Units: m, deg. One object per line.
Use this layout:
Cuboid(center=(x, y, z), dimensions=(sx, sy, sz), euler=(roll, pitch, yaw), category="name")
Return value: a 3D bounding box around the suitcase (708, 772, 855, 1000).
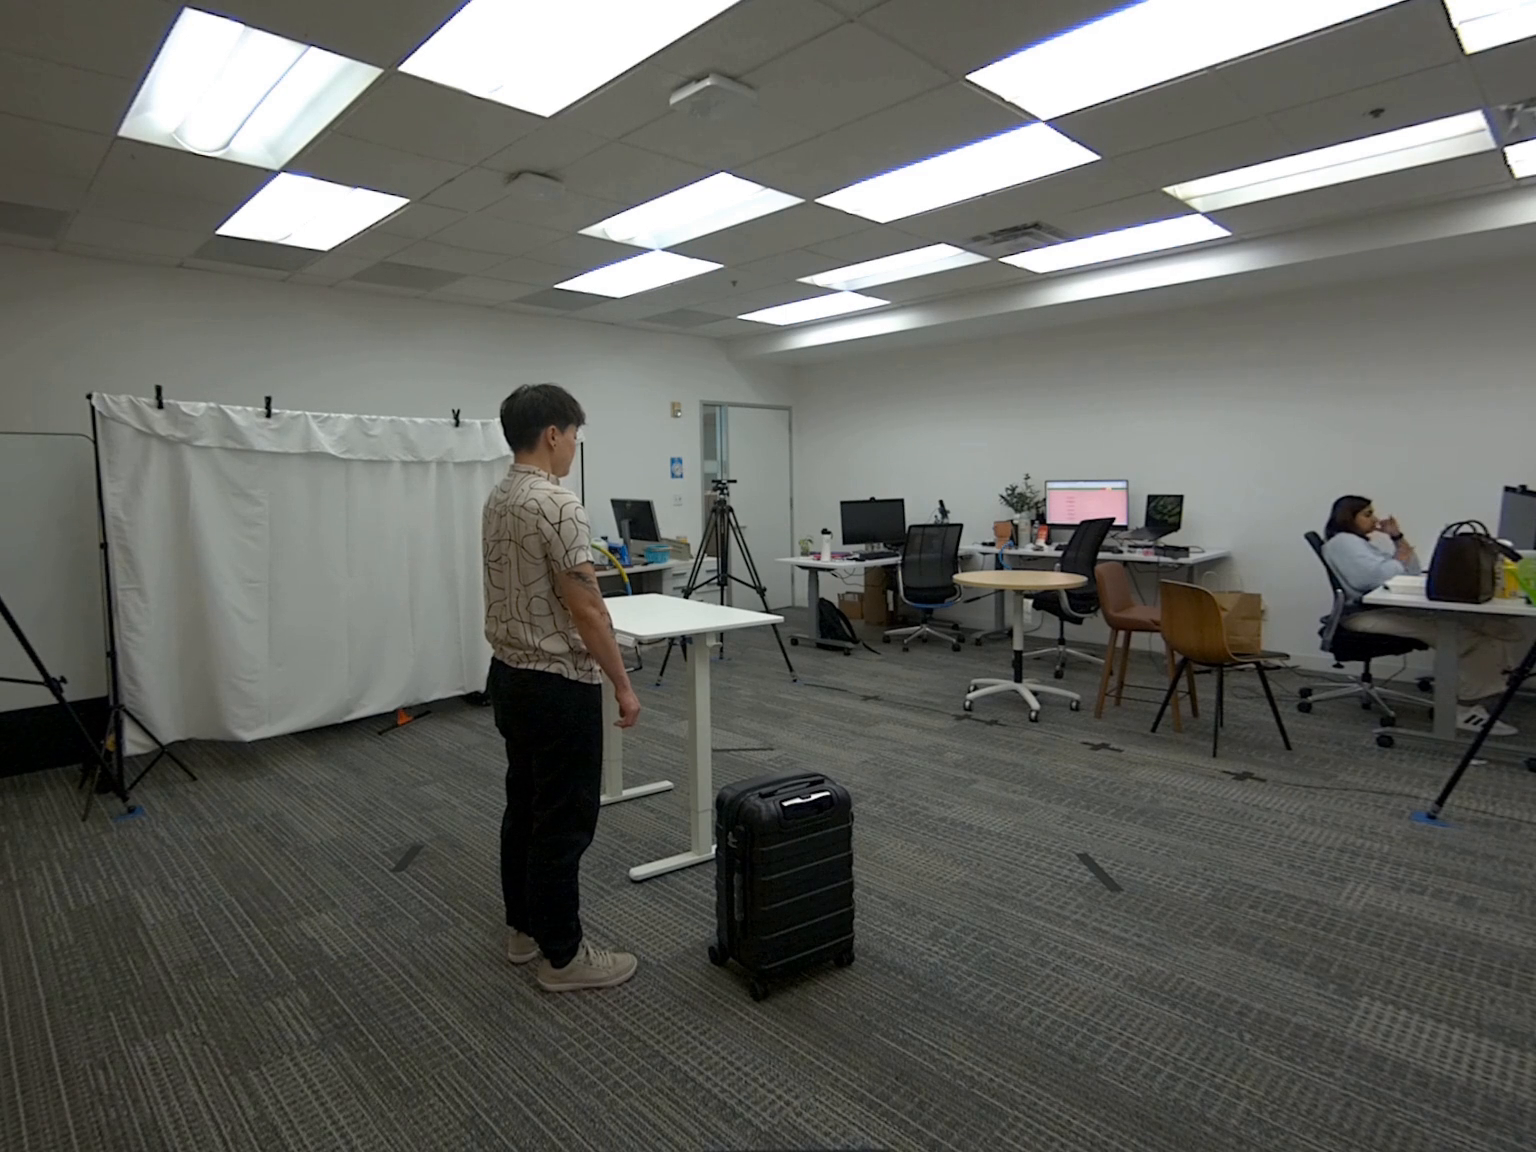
Cuboid(center=(0.051, 0.844, 2.438), dimensions=(0.366, 0.547, 0.255), euler=(-3, 5, -34), category="suitcase")
